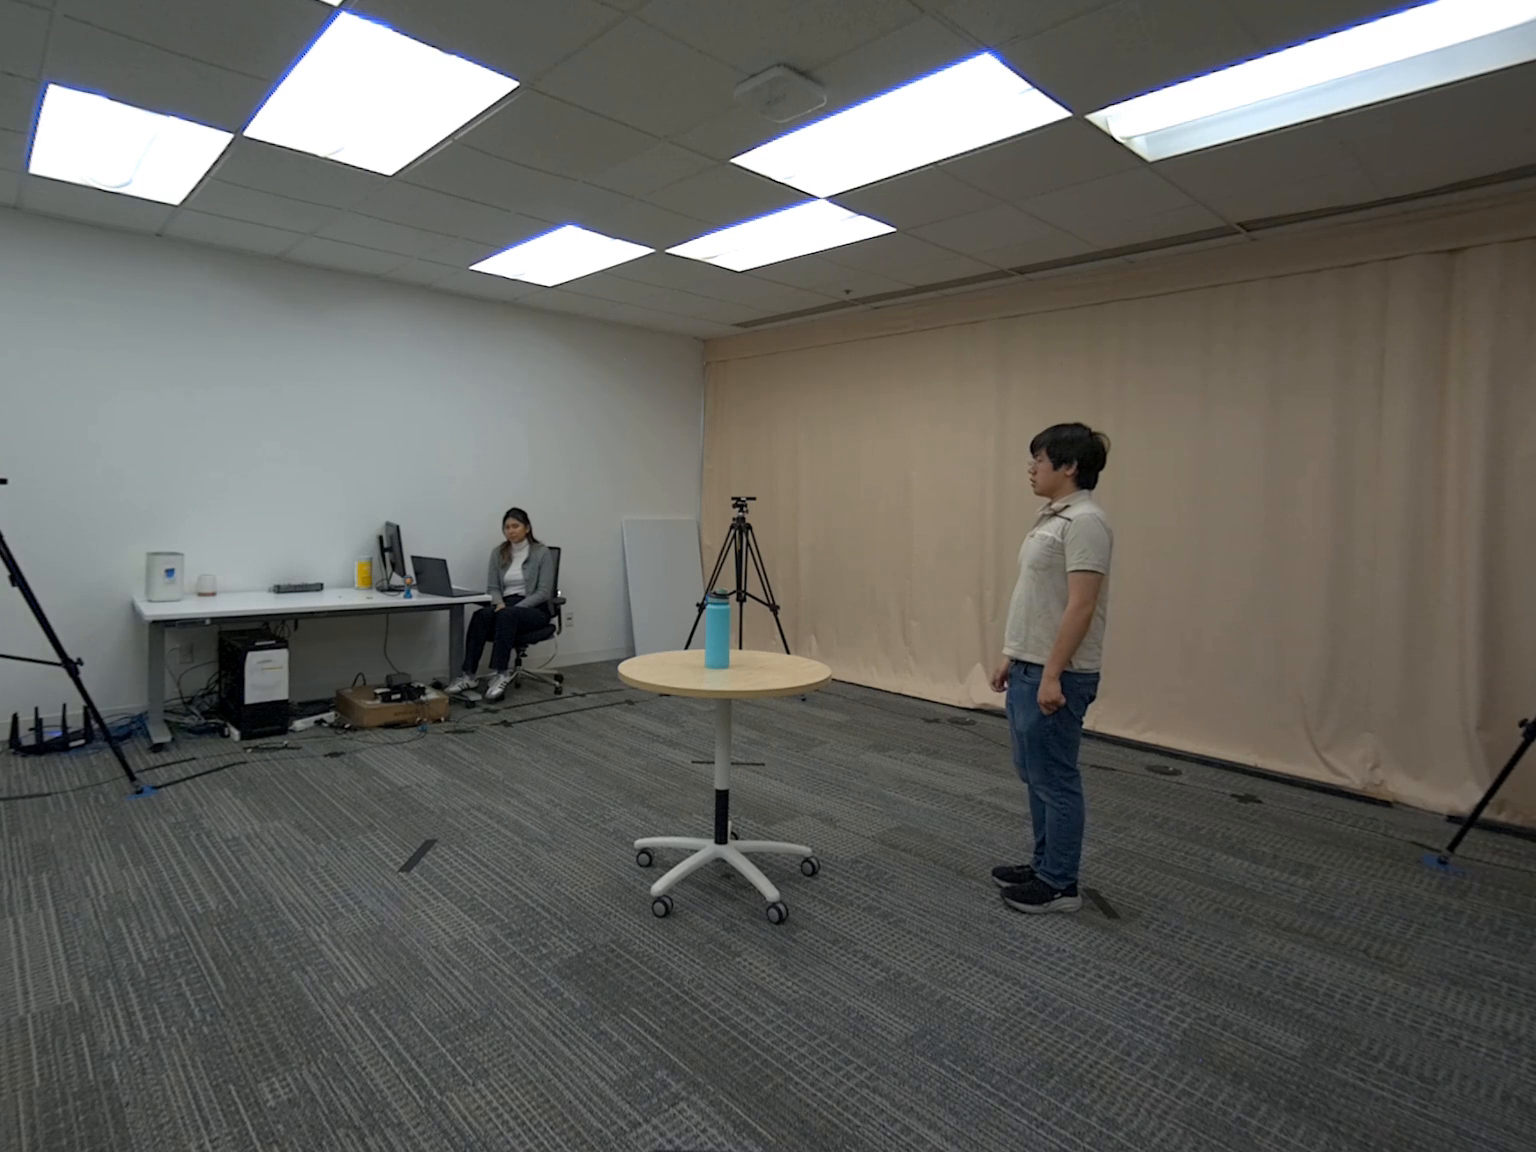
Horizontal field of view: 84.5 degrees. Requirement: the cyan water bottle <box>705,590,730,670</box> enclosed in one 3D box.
[{"bbox_3d":[-0.184,0.187,3.040,0.092,0.283,0.092,2,1,-1],"label":"cyan water bottle"}]
